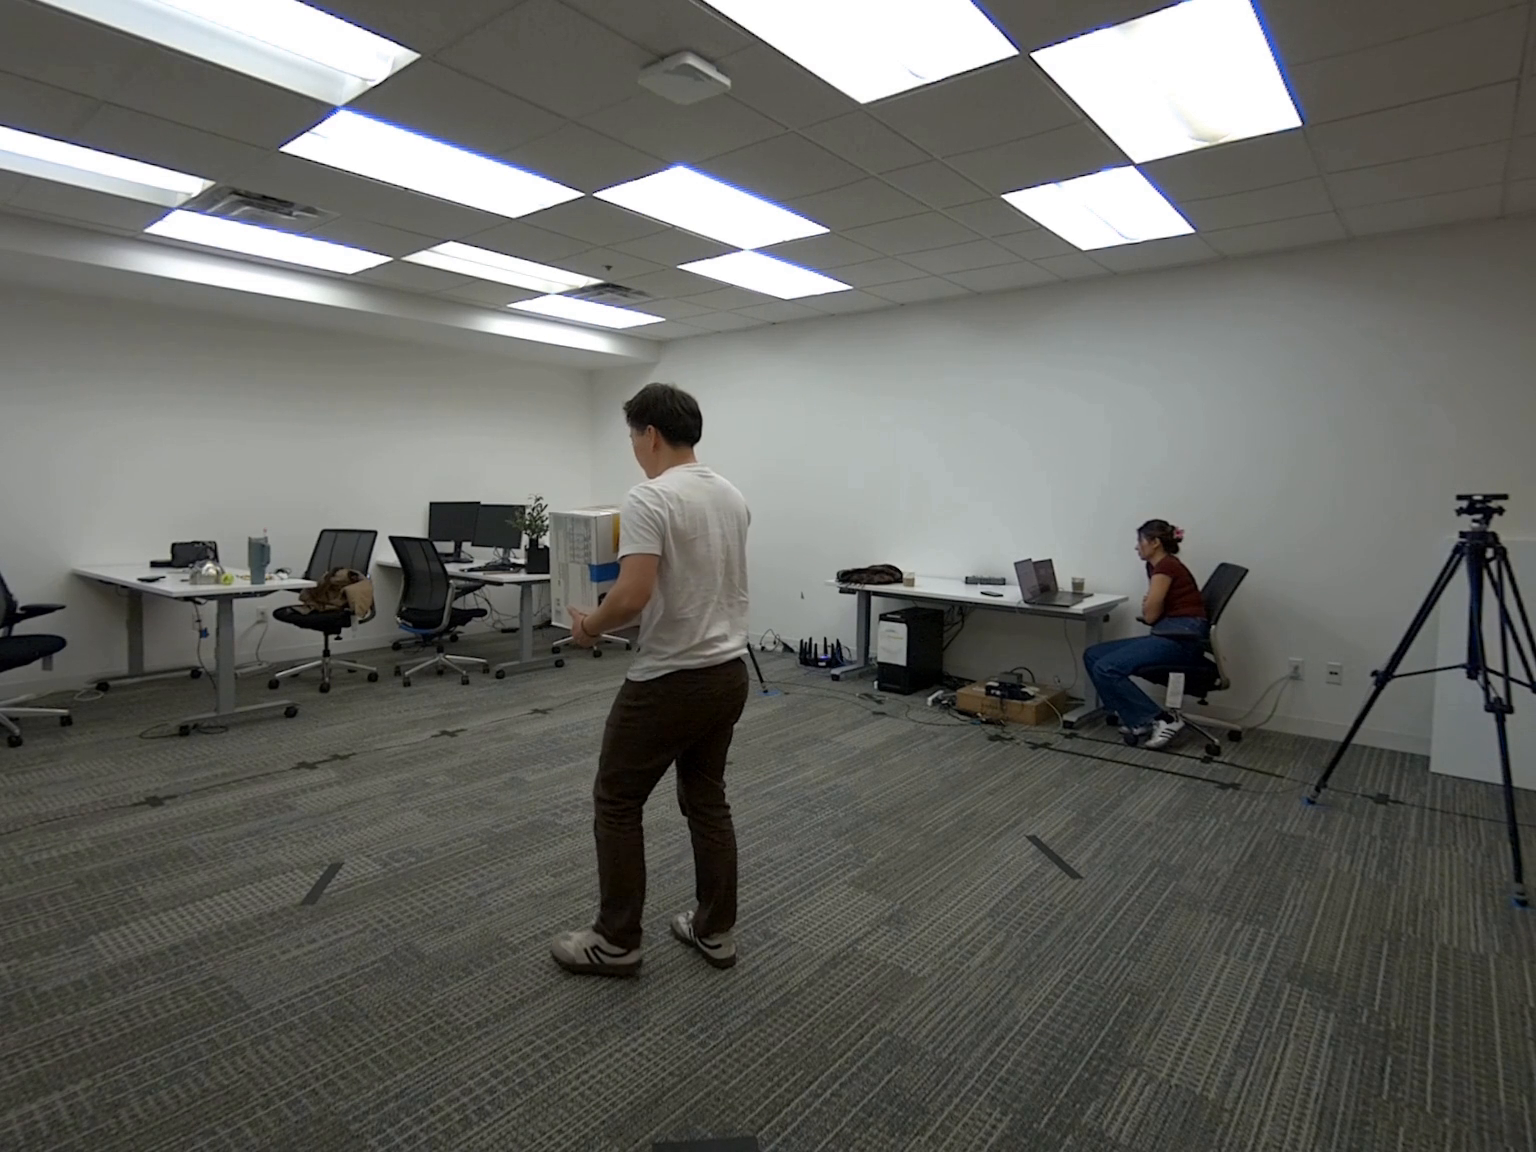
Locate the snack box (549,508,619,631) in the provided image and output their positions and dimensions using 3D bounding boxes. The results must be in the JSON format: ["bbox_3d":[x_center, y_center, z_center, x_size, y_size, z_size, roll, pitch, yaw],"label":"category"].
[{"bbox_3d":[-0.456,-0.036,2.577,0.213,0.337,0.395,7,12,37],"label":"snack box"}]
